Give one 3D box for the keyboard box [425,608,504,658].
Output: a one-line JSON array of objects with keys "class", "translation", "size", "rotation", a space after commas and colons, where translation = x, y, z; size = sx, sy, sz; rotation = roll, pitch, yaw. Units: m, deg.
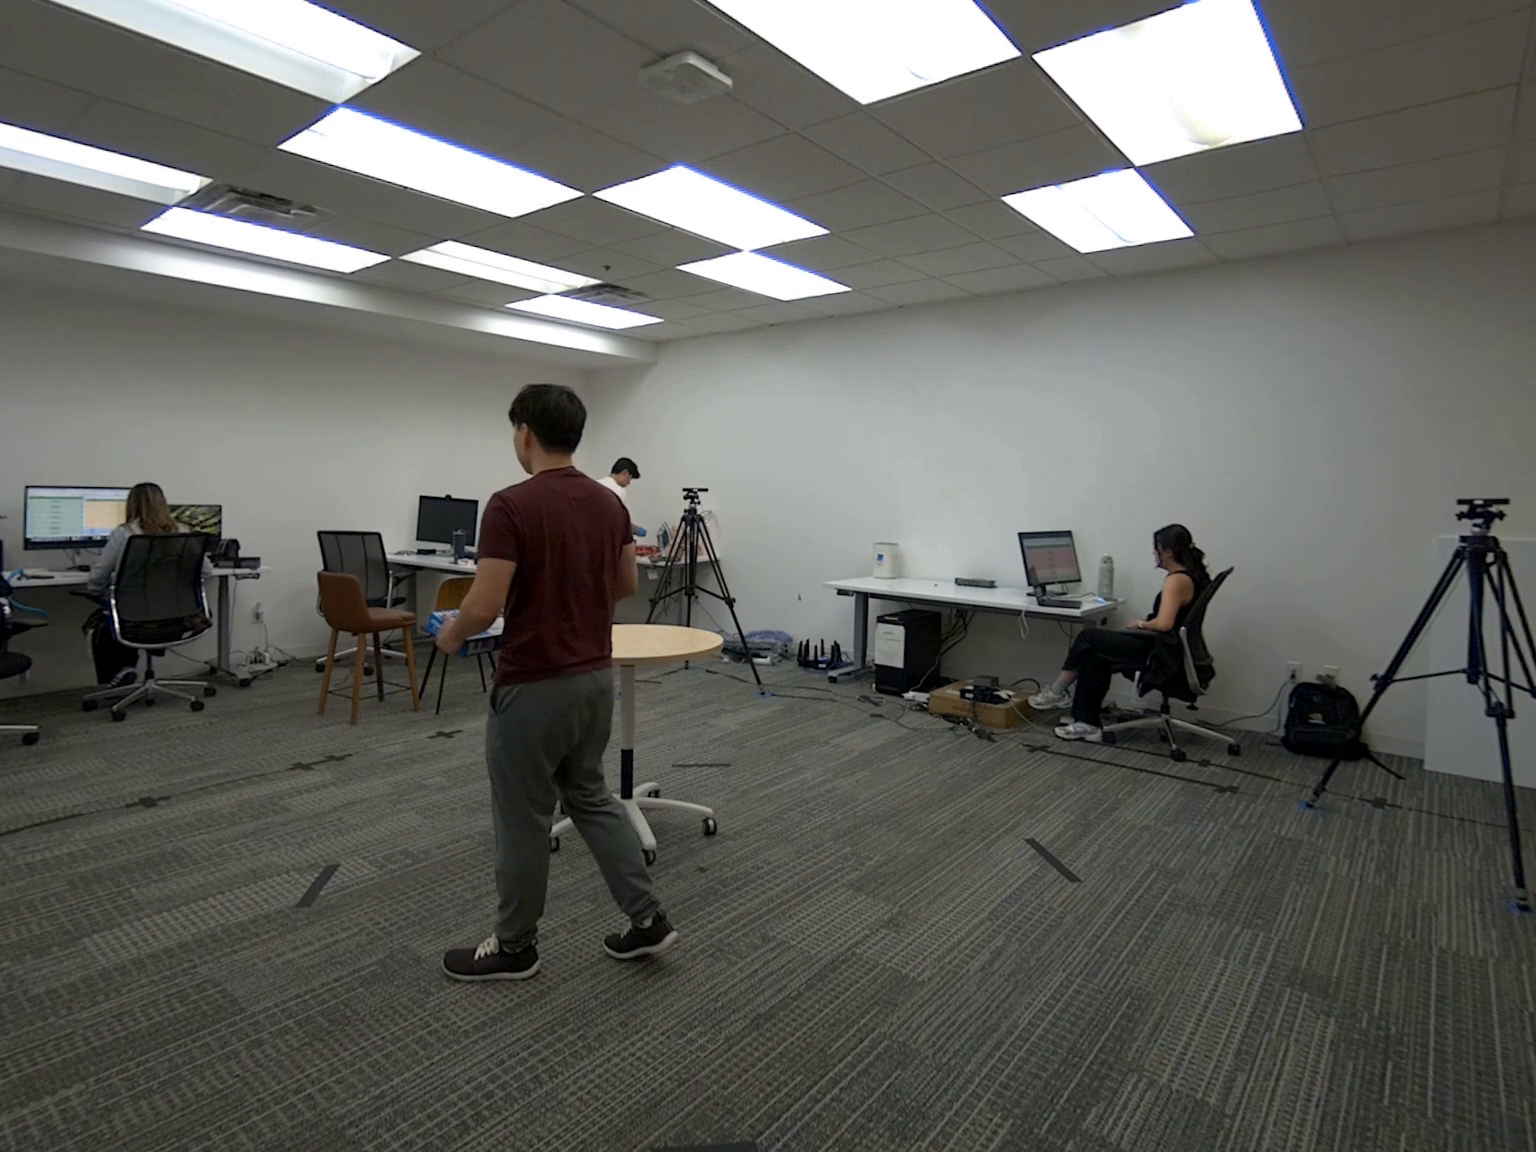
[{"class": "keyboard box", "translation": [-0.807, 0.150, 2.579], "size": [0.182, 0.058, 0.425], "rotation": [26, 18, 30]}]
